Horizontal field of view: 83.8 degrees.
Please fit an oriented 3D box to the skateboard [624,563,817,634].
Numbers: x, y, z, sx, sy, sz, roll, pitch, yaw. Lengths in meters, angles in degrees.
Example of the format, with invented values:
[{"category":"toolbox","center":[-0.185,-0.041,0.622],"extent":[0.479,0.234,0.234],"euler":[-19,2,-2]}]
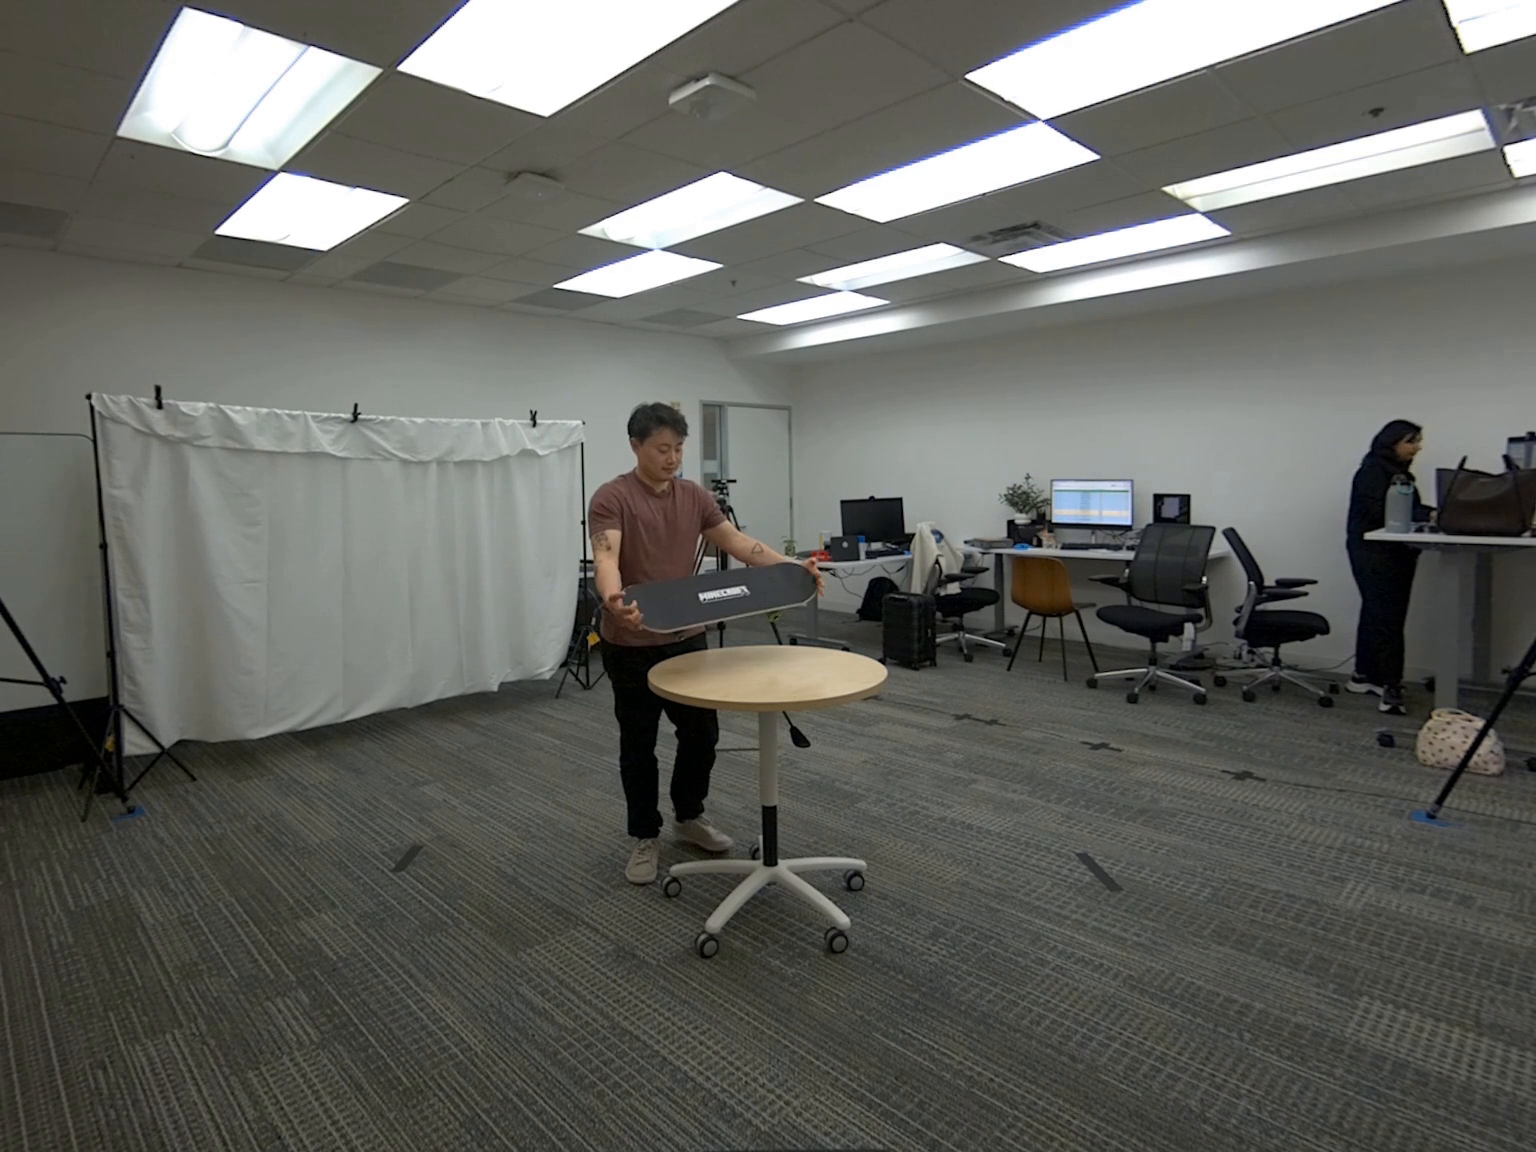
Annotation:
[{"category":"skateboard","center":[-0.151,0.083,2.826],"extent":[0.767,0.200,0.109],"euler":[-10,-35,-38]}]
